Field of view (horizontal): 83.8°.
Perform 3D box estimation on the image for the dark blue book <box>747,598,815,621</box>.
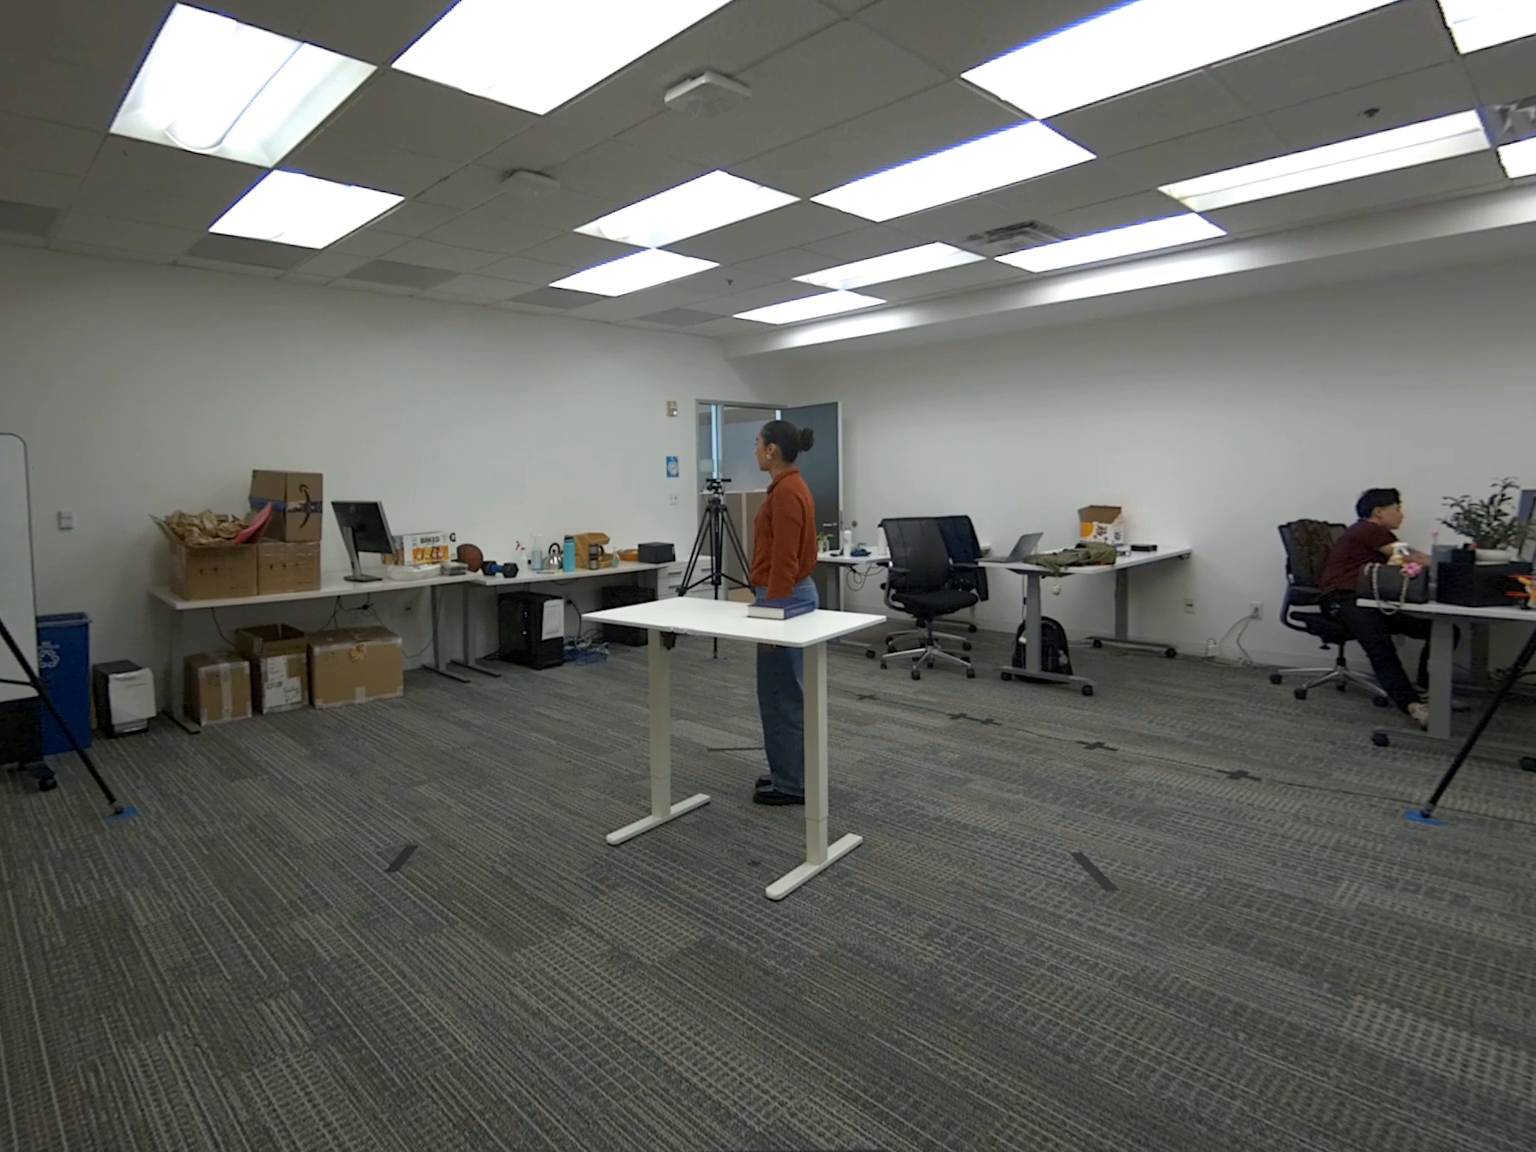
[{"bbox_3d":[0.044,0.124,3.248,0.168,0.045,0.240,3,7,31],"label":"dark blue book"}]
